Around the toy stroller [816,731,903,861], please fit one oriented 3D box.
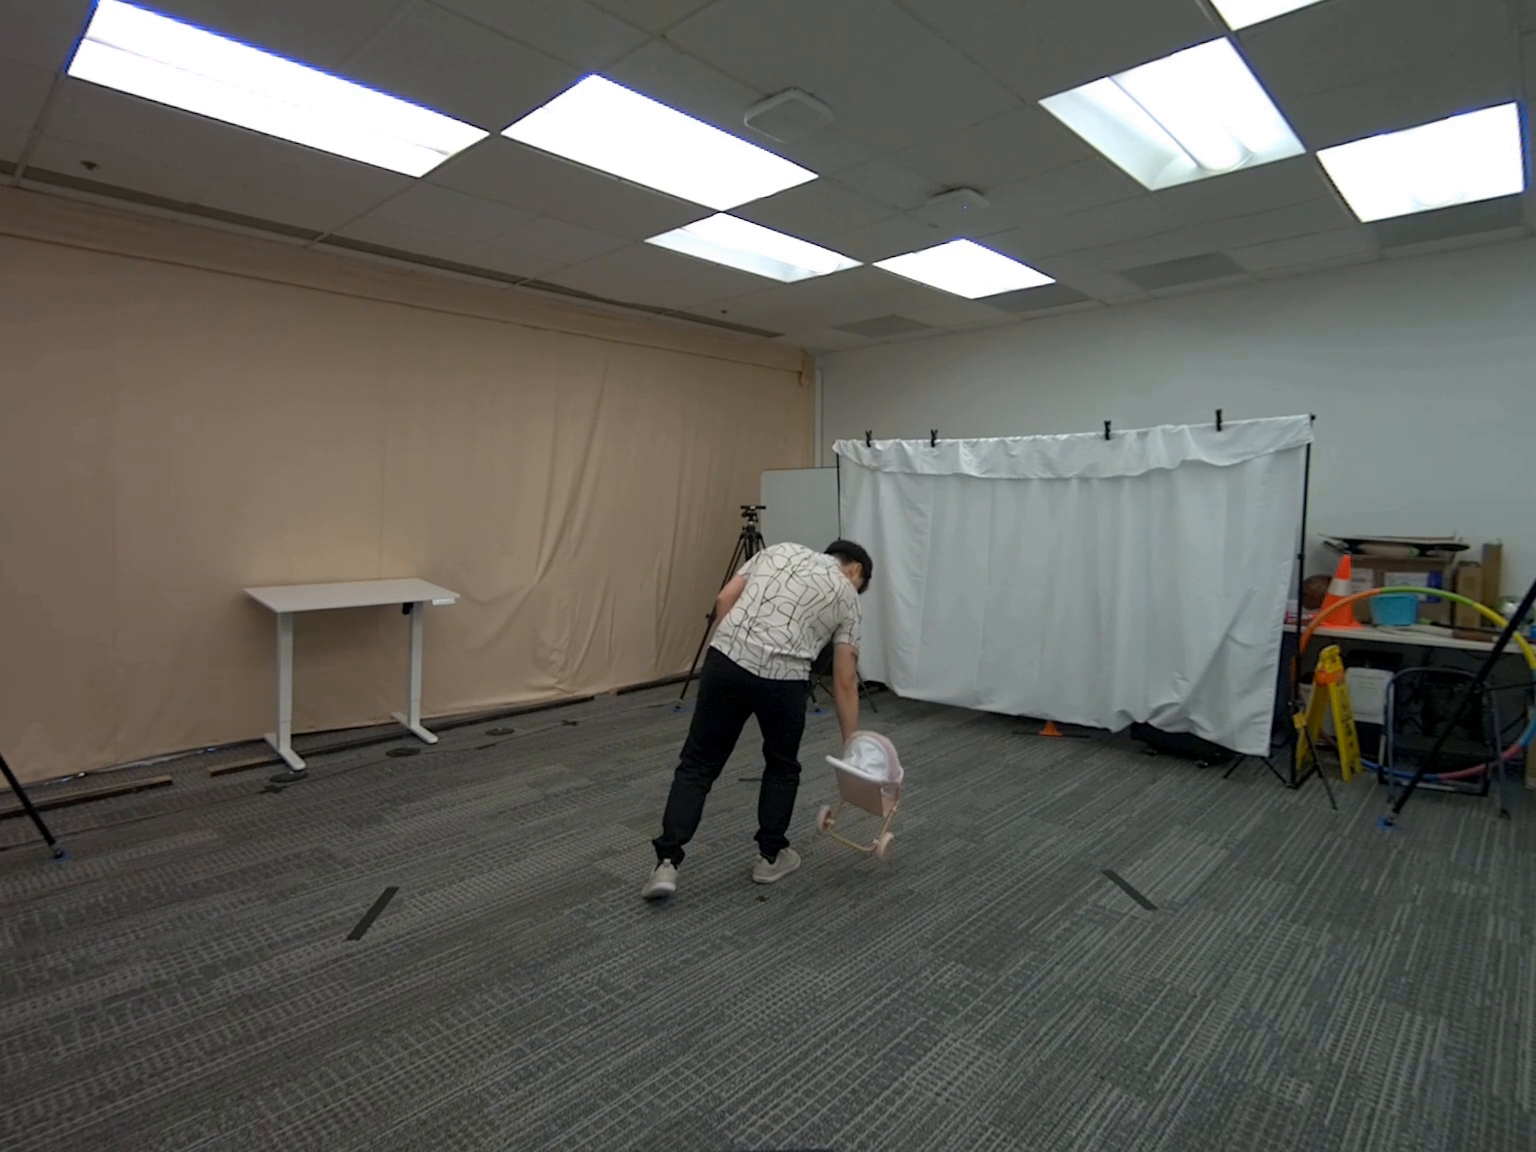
[{"bbox_3d":[0.378,0.782,3.116,0.290,0.524,0.337,19,41,29],"label":"toy stroller"}]
